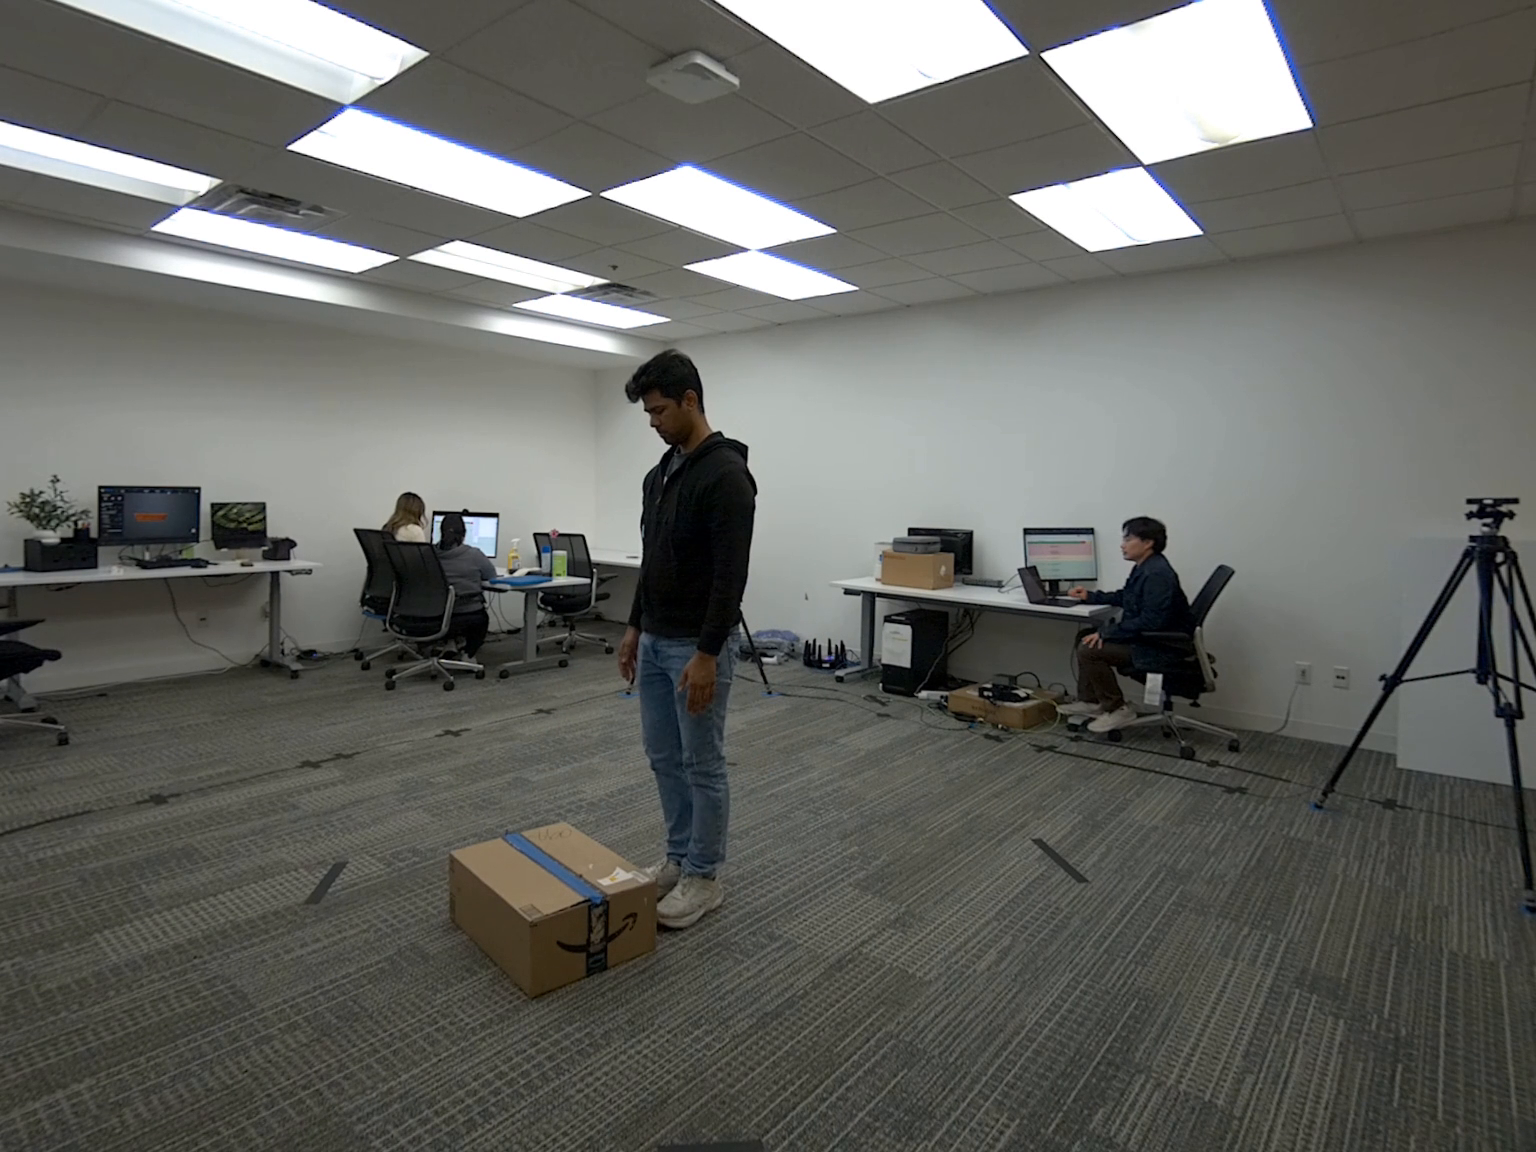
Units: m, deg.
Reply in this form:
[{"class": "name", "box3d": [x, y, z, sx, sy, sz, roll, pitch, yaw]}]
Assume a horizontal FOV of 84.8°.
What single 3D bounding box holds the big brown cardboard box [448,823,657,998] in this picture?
[{"class": "big brown cardboard box", "box3d": [-0.681, 0.994, 2.624, 0.405, 0.232, 0.609, -4, 6, -41]}]
